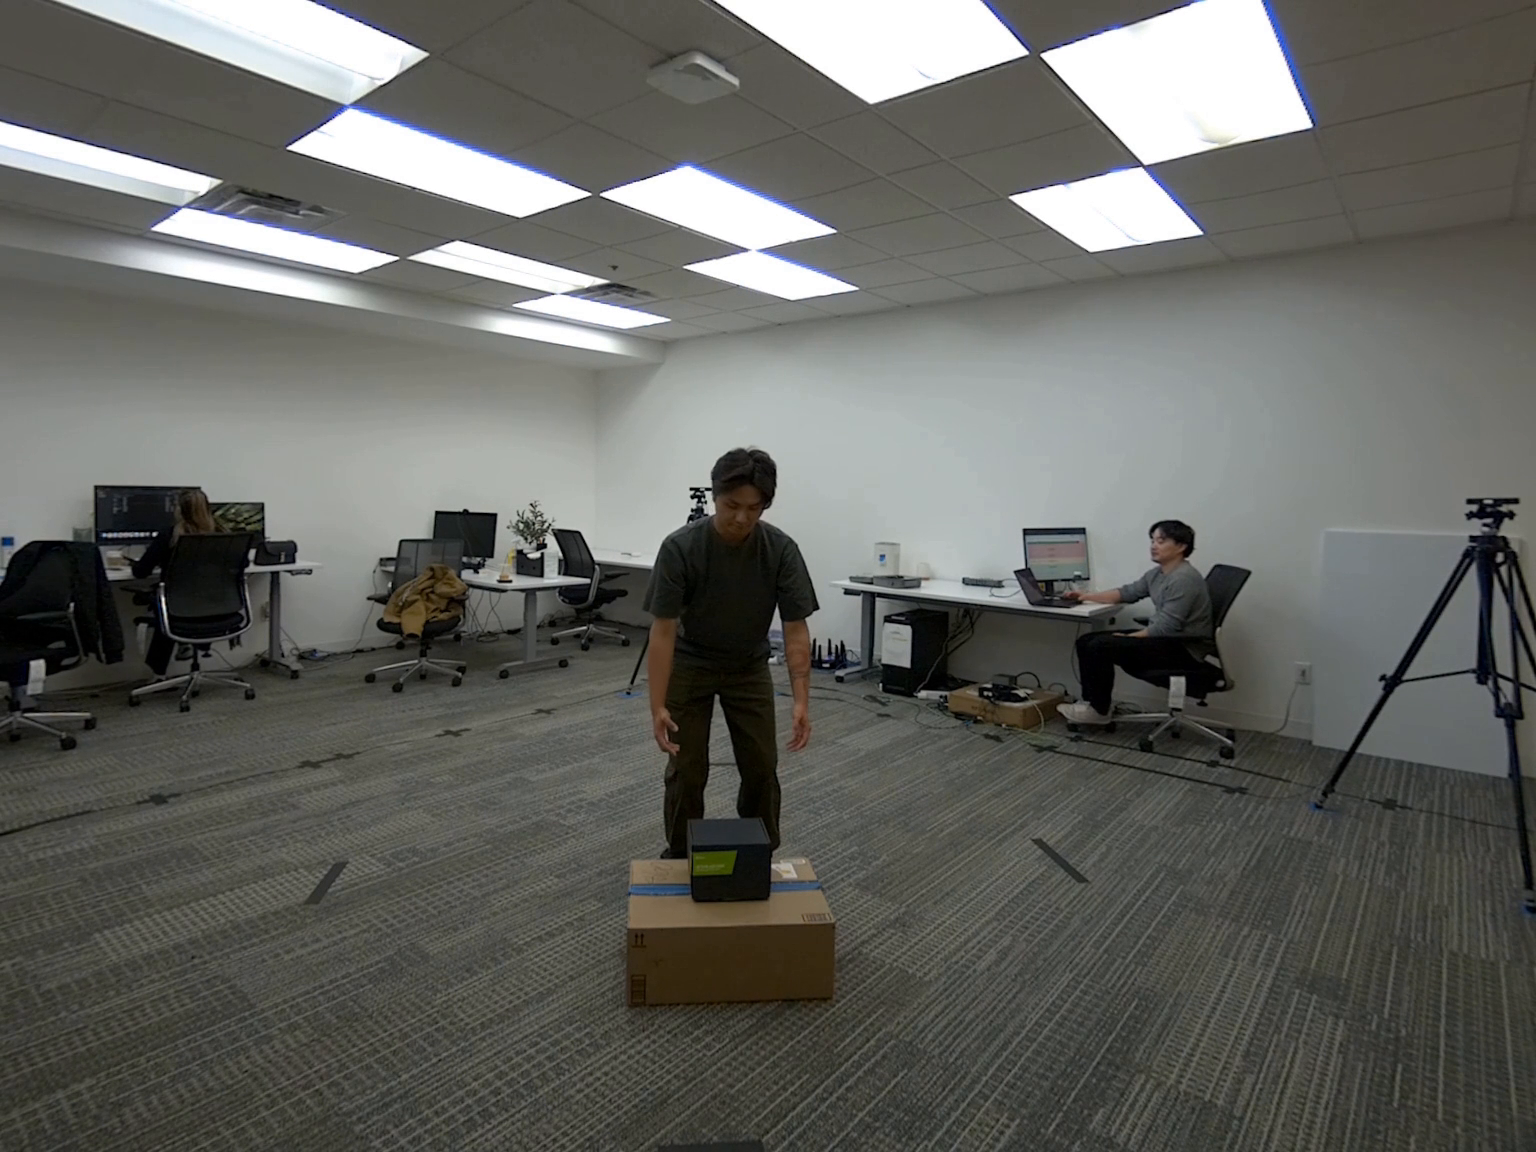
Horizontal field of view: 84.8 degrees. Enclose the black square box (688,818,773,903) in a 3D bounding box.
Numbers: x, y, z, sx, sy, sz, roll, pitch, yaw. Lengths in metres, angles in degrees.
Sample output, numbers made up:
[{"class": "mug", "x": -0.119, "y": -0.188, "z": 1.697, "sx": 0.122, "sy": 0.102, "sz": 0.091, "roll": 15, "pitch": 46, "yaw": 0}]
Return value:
[{"class": "black square box", "x": -0.124, "y": 0.828, "z": 2.511, "sx": 0.226, "sy": 0.155, "sz": 0.219, "roll": 1, "pitch": 4, "yaw": -6}]
